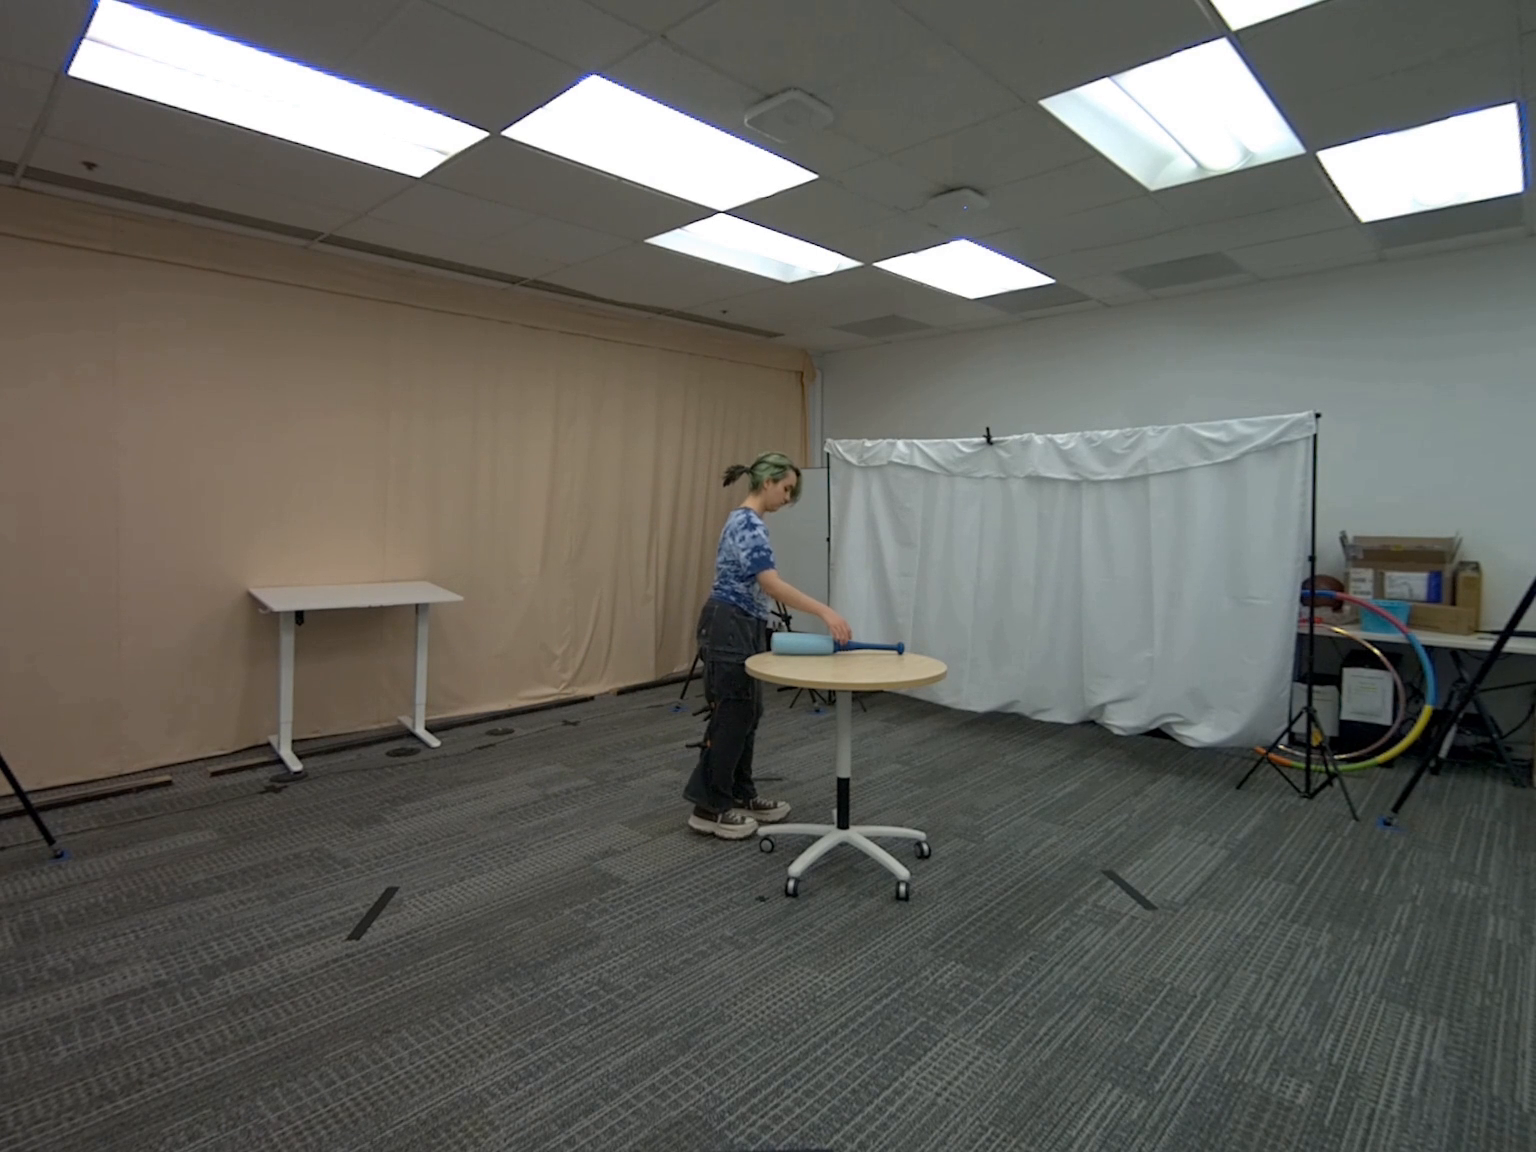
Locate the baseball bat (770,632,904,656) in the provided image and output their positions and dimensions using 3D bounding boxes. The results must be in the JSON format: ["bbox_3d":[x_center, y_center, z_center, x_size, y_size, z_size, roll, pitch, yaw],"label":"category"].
[{"bbox_3d":[0.291,0.285,3.435,0.541,0.089,0.089,2,4,-3],"label":"baseball bat"}]
